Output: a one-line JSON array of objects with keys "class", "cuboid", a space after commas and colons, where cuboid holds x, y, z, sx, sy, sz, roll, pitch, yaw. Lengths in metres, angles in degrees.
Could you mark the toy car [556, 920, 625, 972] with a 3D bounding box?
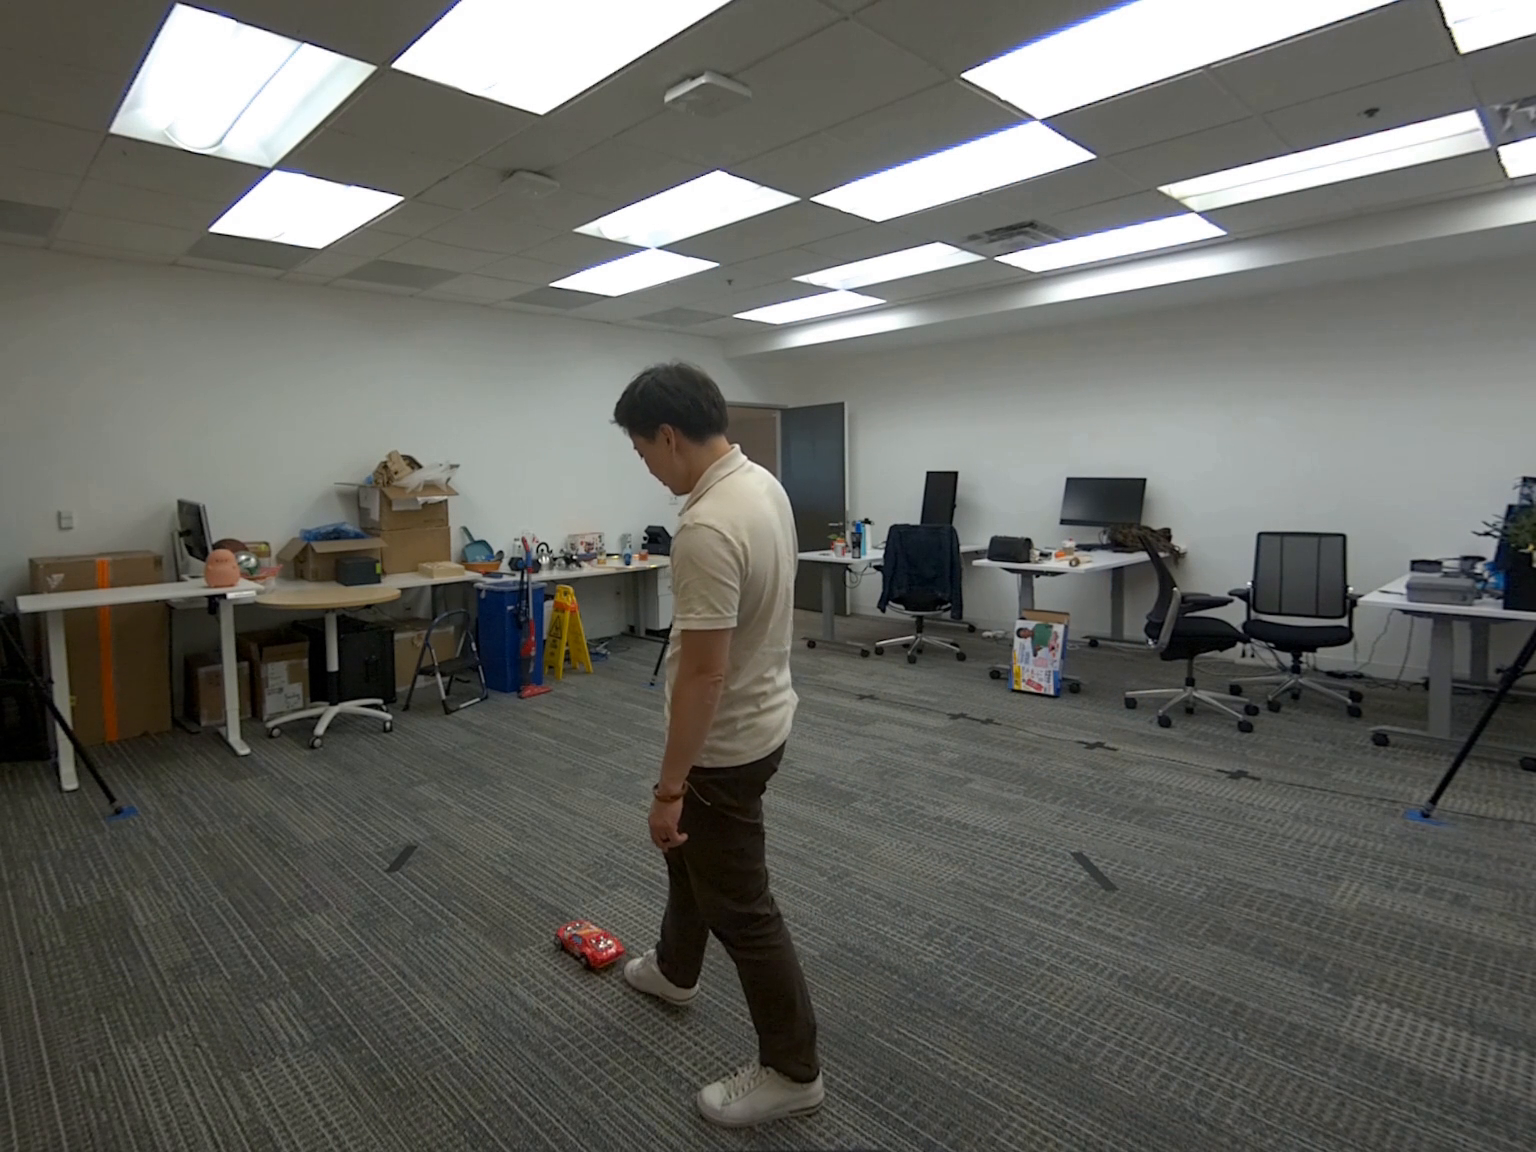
[{"class": "toy car", "cuboid": [-0.517, 1.093, 2.516, 0.127, 0.083, 0.260, -6, -2, -43]}]
